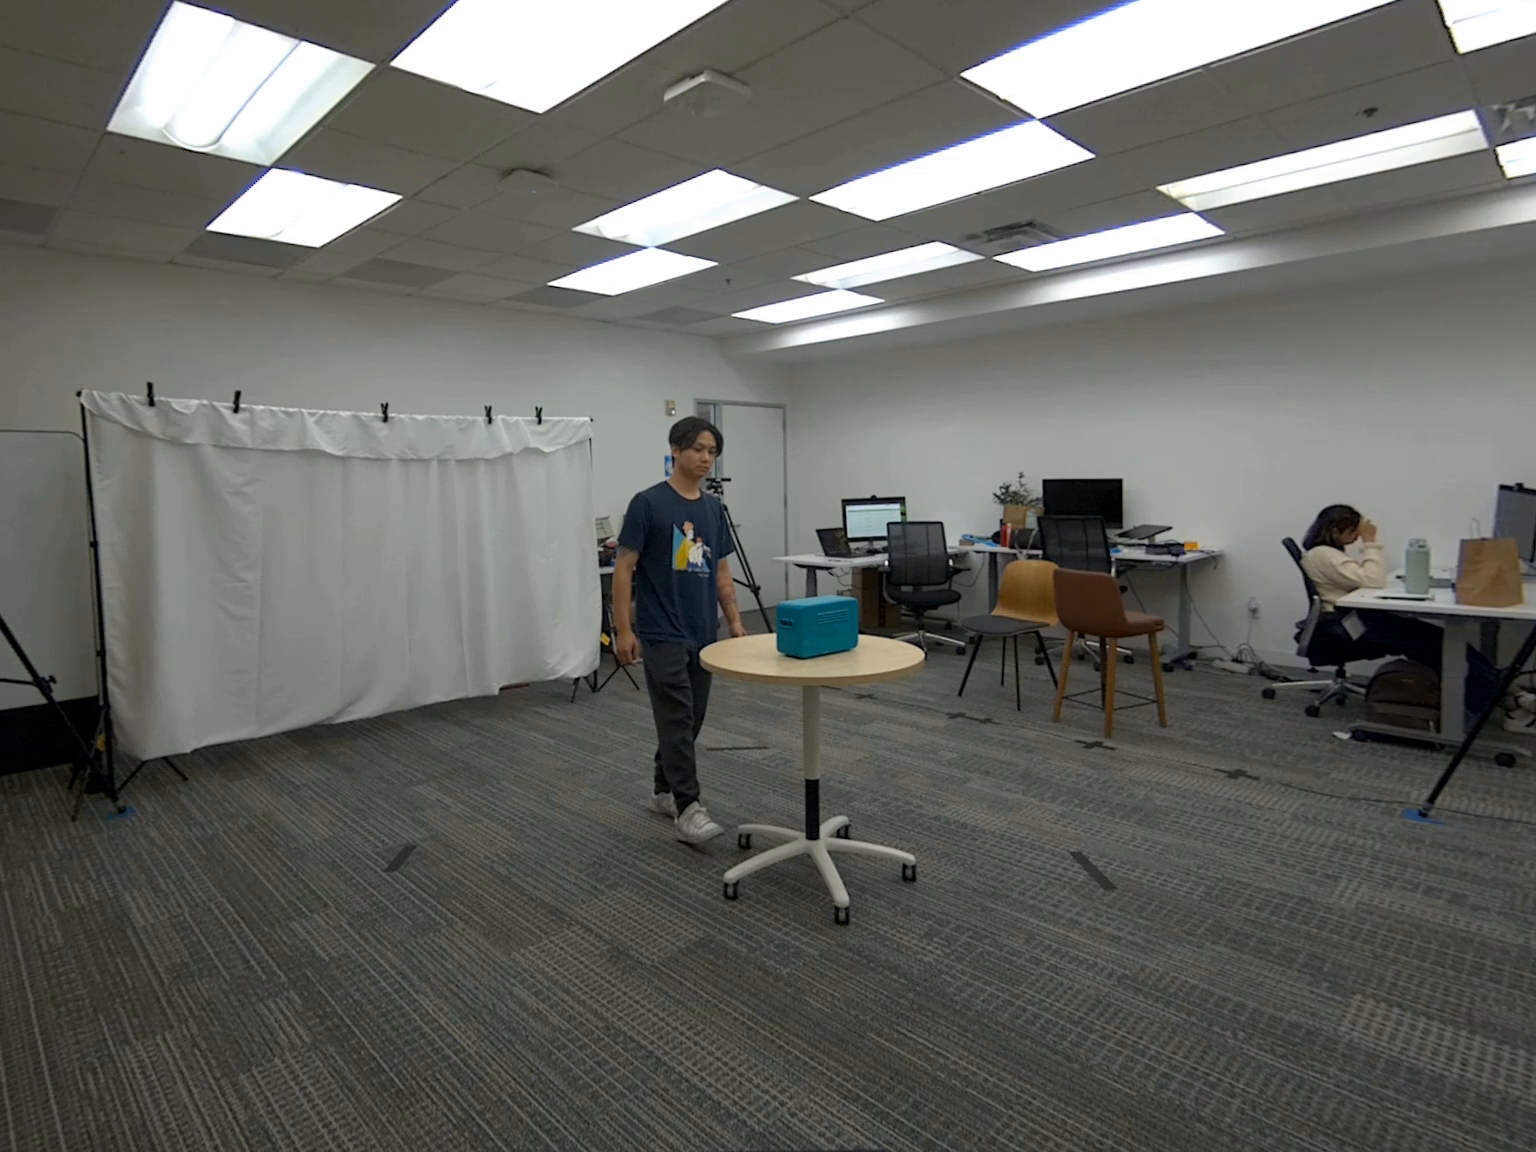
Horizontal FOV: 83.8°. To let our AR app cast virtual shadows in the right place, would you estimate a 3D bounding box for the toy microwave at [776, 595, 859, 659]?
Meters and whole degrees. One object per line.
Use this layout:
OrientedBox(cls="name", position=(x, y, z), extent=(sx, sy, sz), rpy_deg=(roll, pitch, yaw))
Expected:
OrientedBox(cls="toy microwave", position=(0.164, 0.169, 2.930), extent=(0.279, 0.183, 0.157), rpy_deg=(-6, 6, -39))
